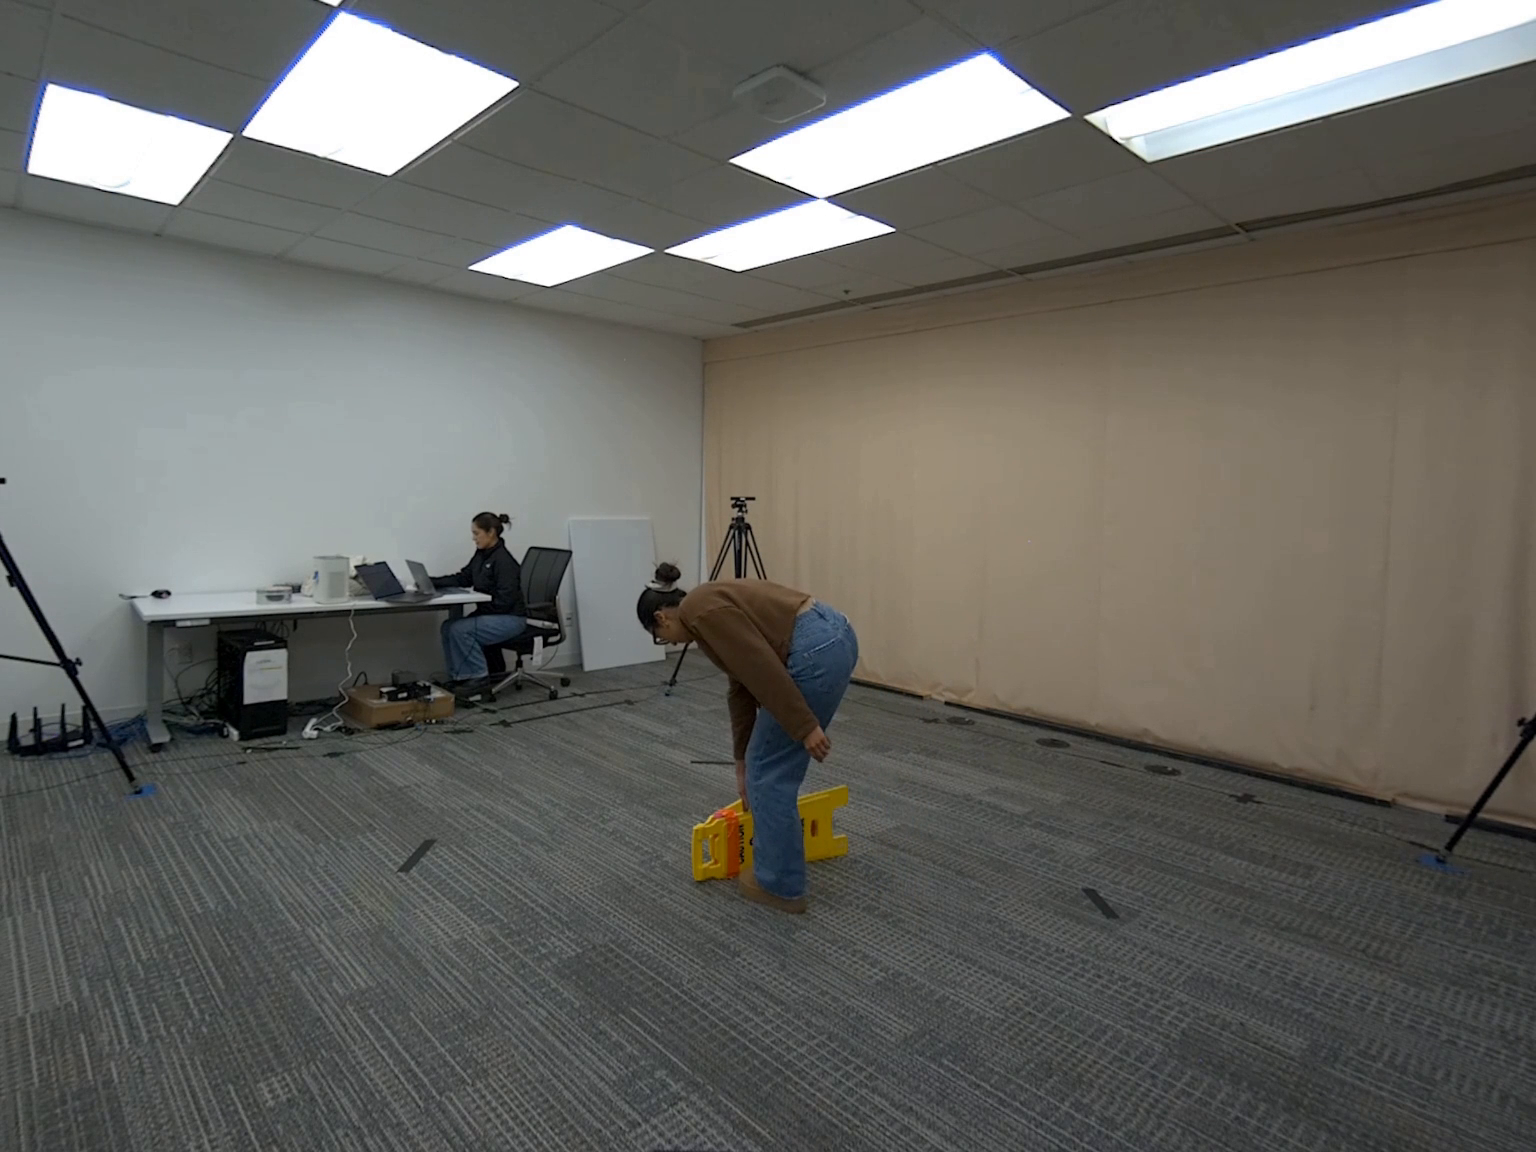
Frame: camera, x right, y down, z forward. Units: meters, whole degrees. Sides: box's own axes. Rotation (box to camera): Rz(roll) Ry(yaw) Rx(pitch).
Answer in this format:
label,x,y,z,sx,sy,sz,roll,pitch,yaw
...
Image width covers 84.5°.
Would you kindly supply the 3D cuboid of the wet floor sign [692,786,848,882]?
label,x,y,z,sx,sy,sz,roll,pitch,yaw
wet floor sign,-0.020,0.975,3.219,0.632,0.281,0.297,-6,7,-39
